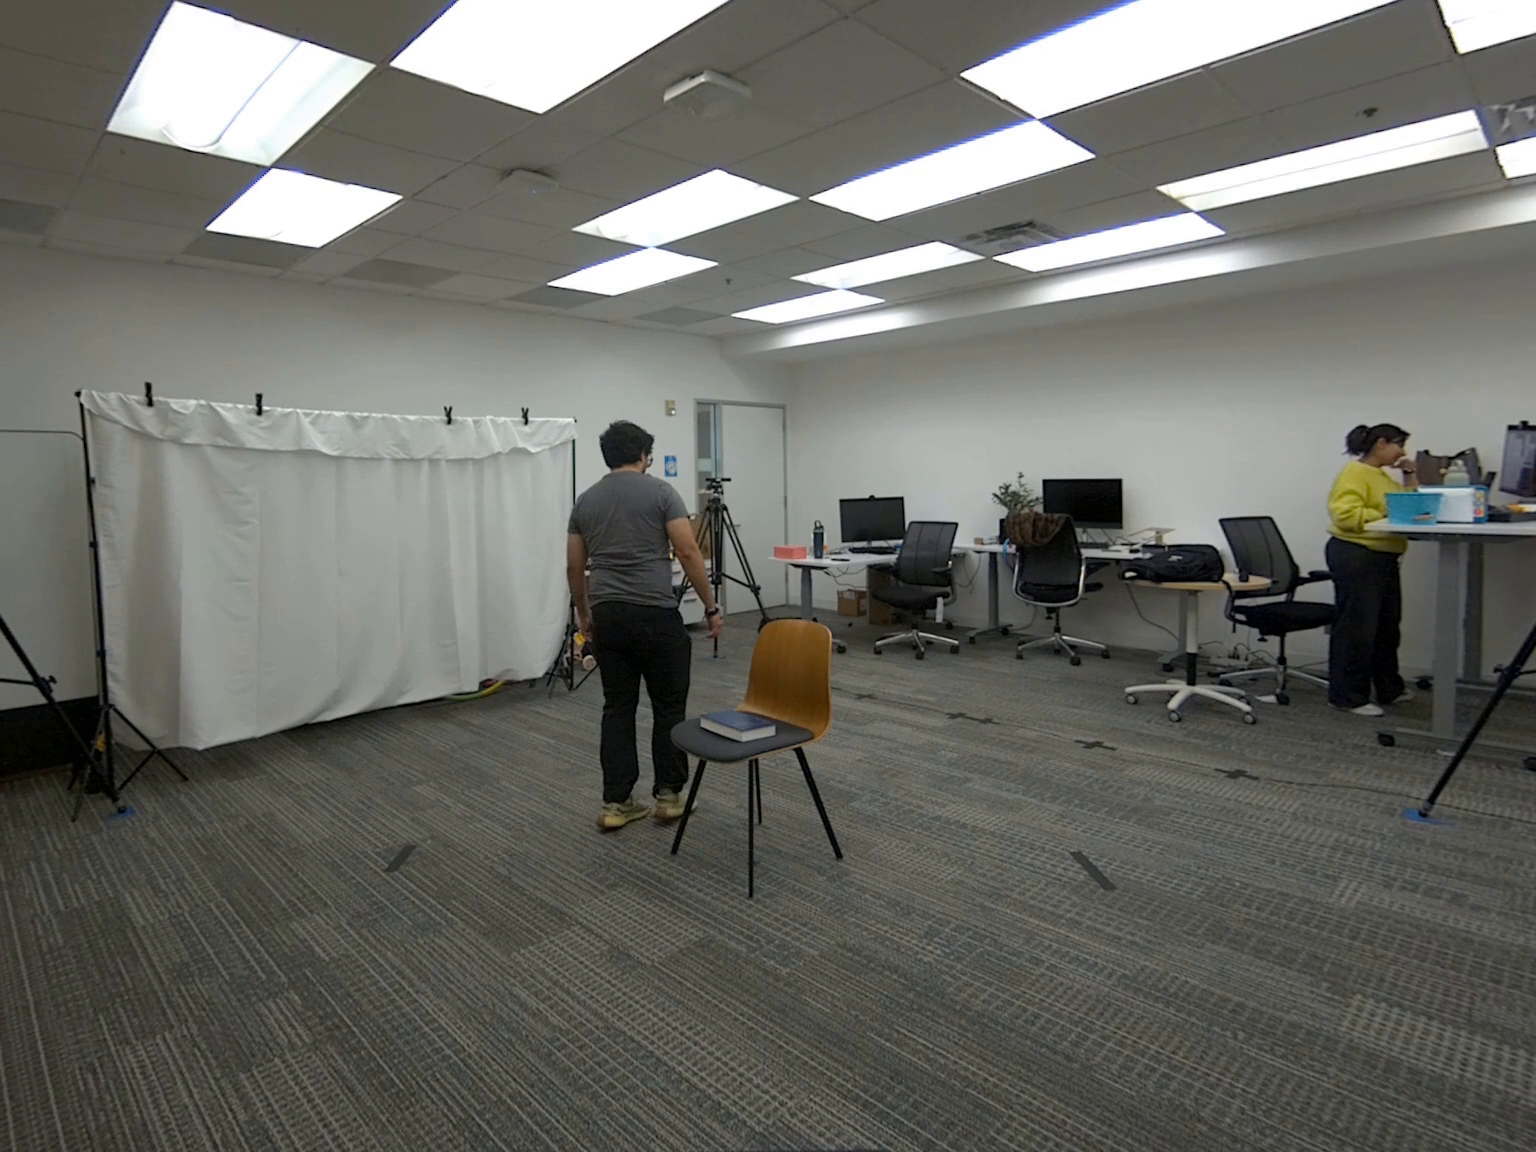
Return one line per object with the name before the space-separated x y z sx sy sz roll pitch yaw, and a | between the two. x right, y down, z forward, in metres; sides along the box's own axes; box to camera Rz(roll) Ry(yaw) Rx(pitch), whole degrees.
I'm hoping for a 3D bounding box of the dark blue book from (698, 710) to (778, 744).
dark blue book | -0.113 0.539 3.082 0.159 0.045 0.253 -3 6 -42
